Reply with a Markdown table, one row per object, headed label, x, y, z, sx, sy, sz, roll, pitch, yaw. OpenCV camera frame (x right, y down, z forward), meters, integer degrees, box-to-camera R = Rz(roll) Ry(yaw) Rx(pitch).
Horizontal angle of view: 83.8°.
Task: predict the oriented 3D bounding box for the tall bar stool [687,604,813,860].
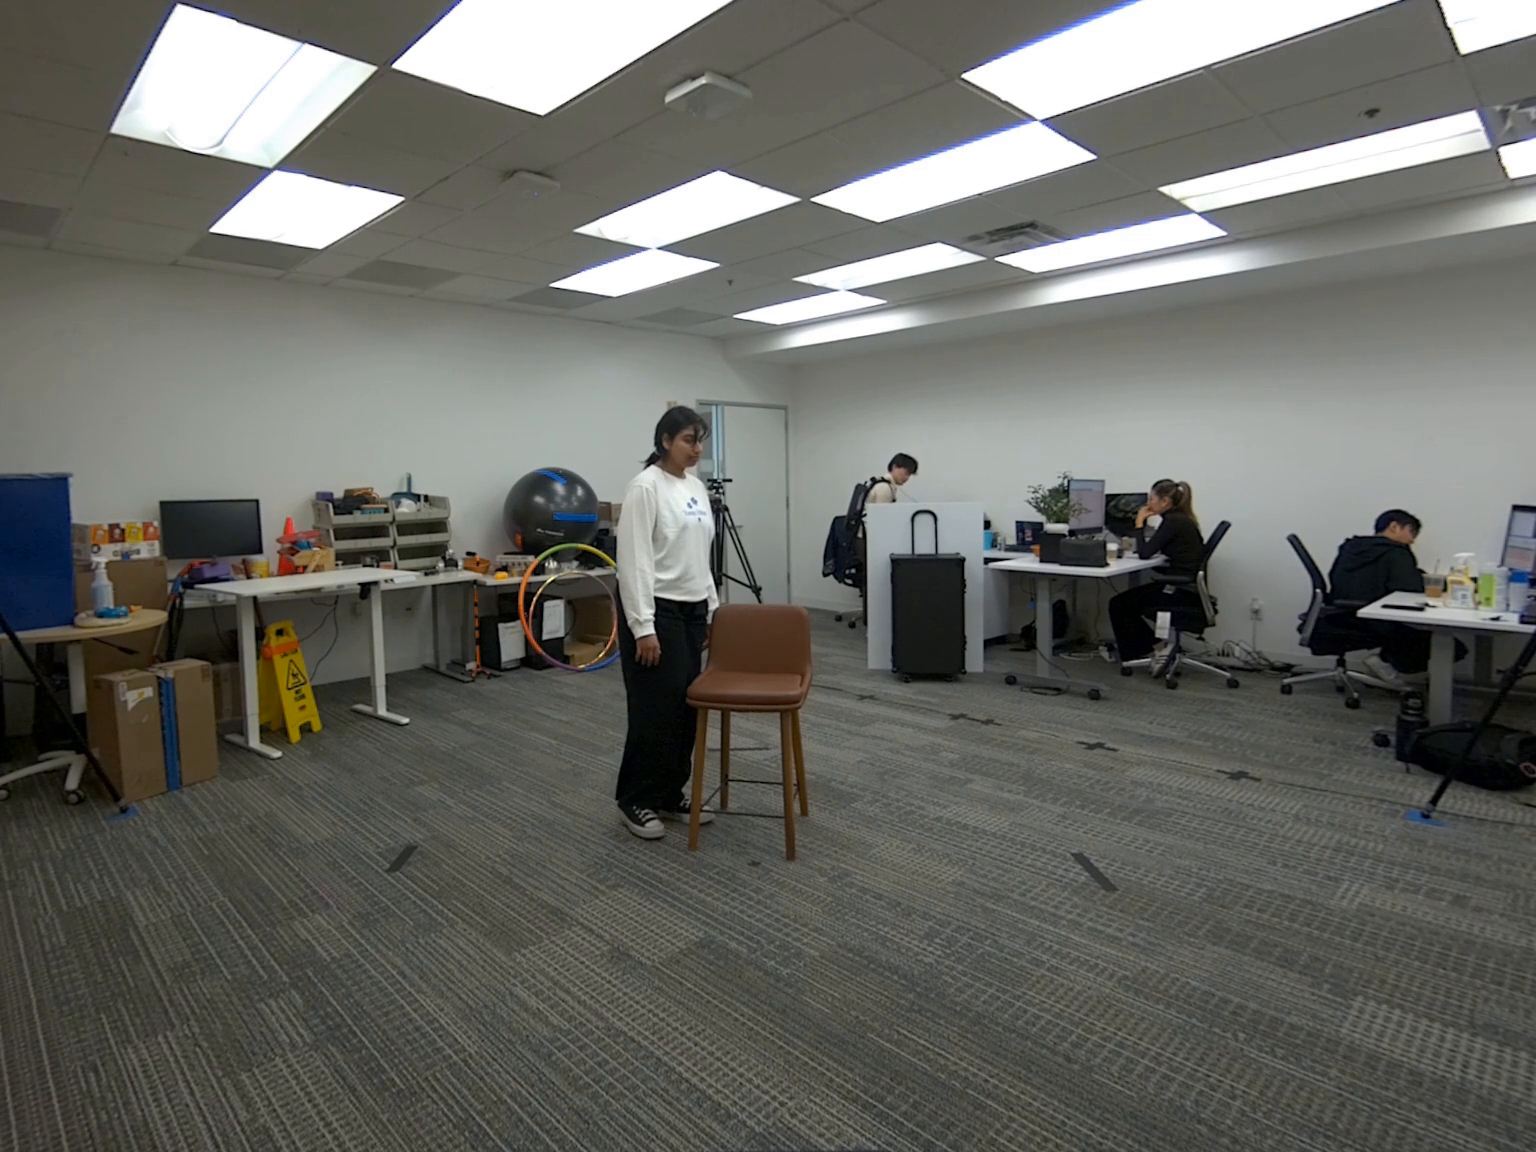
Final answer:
| label | x | y | z | sx | sy | sz | roll | pitch | yaw |
| --- | --- | --- | --- | --- | --- | --- | --- | --- | --- |
| tall bar stool | -0.063 | 0.578 | 3.369 | 0.463 | 0.889 | 0.462 | 0 | 2 | 14 |
